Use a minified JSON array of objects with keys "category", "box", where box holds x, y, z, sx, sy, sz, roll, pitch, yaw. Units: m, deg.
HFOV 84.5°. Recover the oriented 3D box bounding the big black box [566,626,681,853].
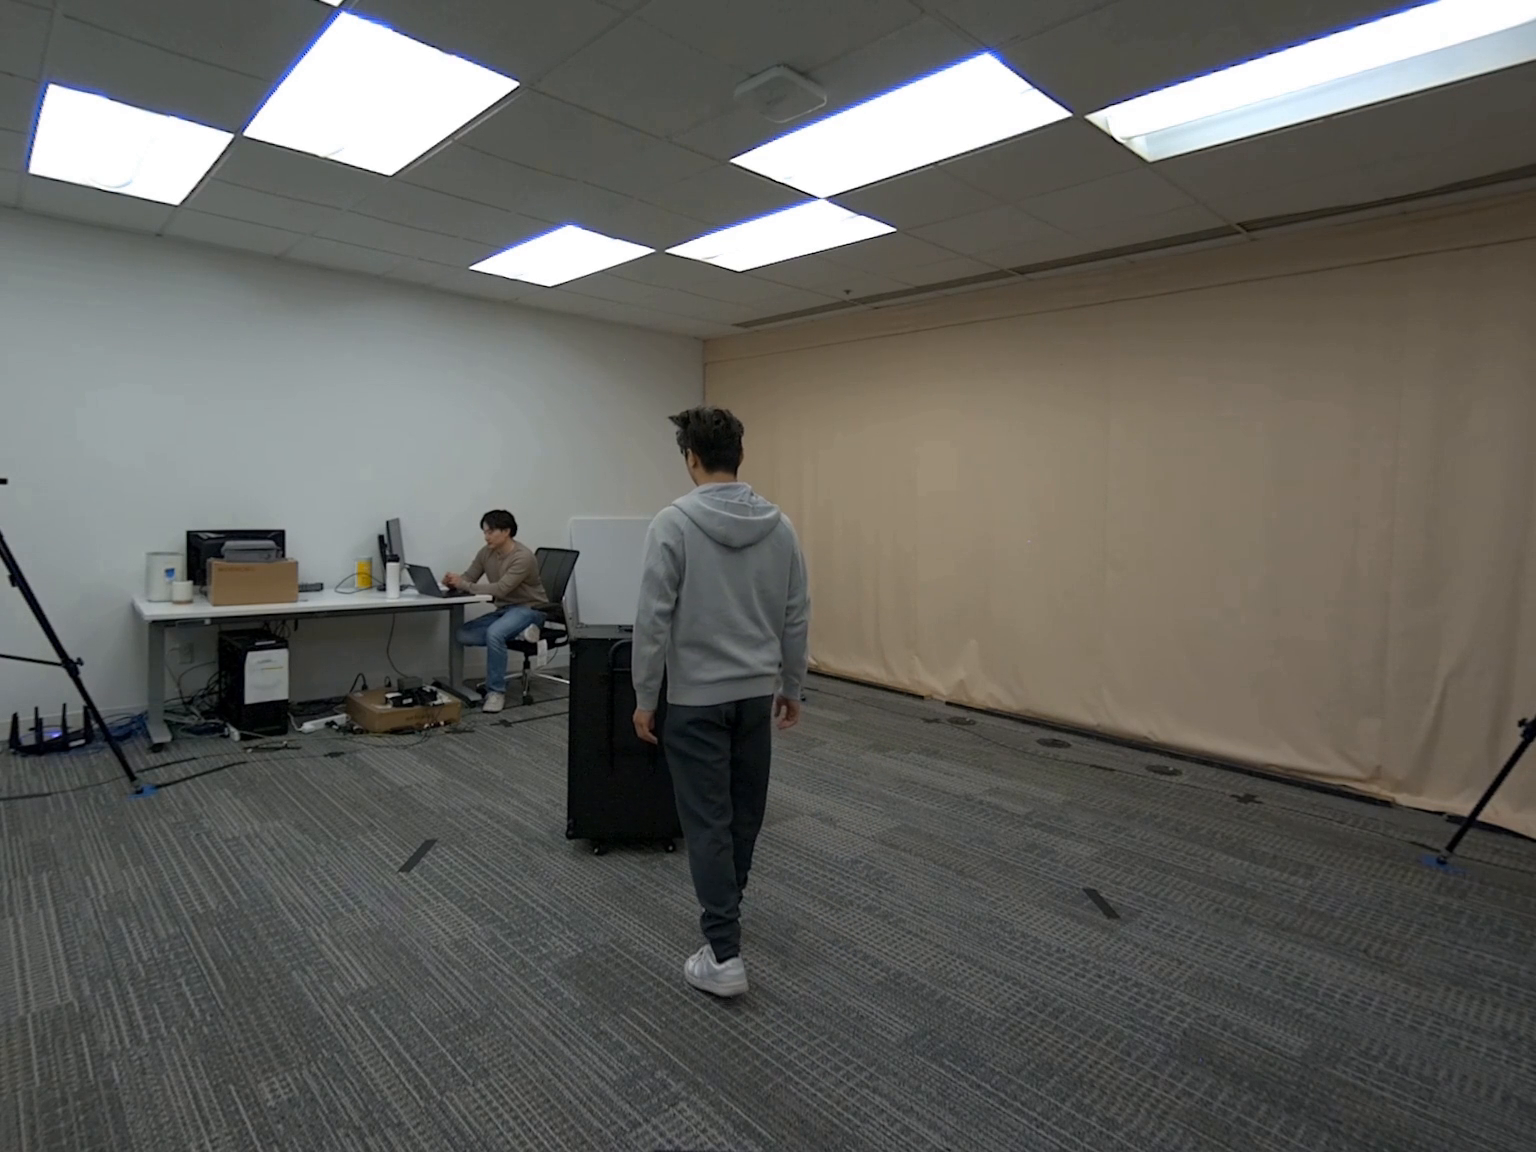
[{"category":"big black box","box":[-0.552,0.647,3.396,0.518,0.859,0.399,2,3,-7]}]
